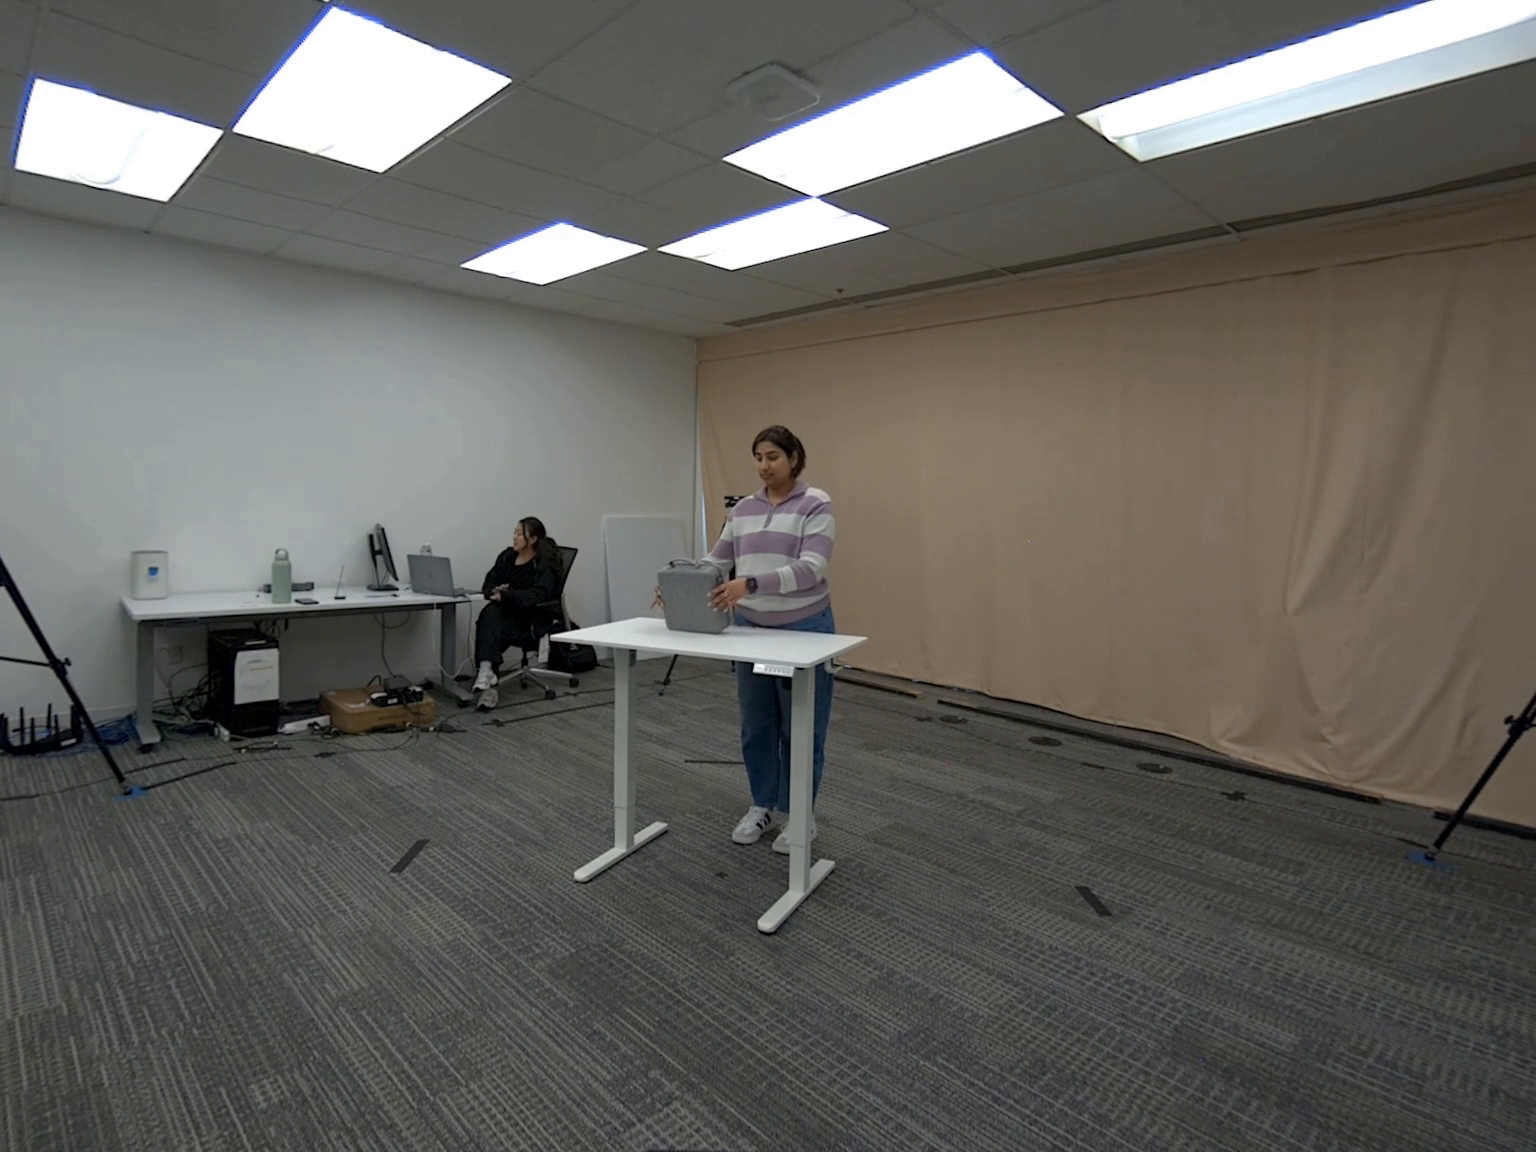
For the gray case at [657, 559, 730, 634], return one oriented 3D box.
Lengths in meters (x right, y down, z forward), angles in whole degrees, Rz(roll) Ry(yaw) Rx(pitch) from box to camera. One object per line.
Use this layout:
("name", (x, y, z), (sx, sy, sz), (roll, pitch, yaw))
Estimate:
("gray case", (-0.285, 0.079, 3.166), (0.262, 0.257, 0.103), (0, 17, 28))
